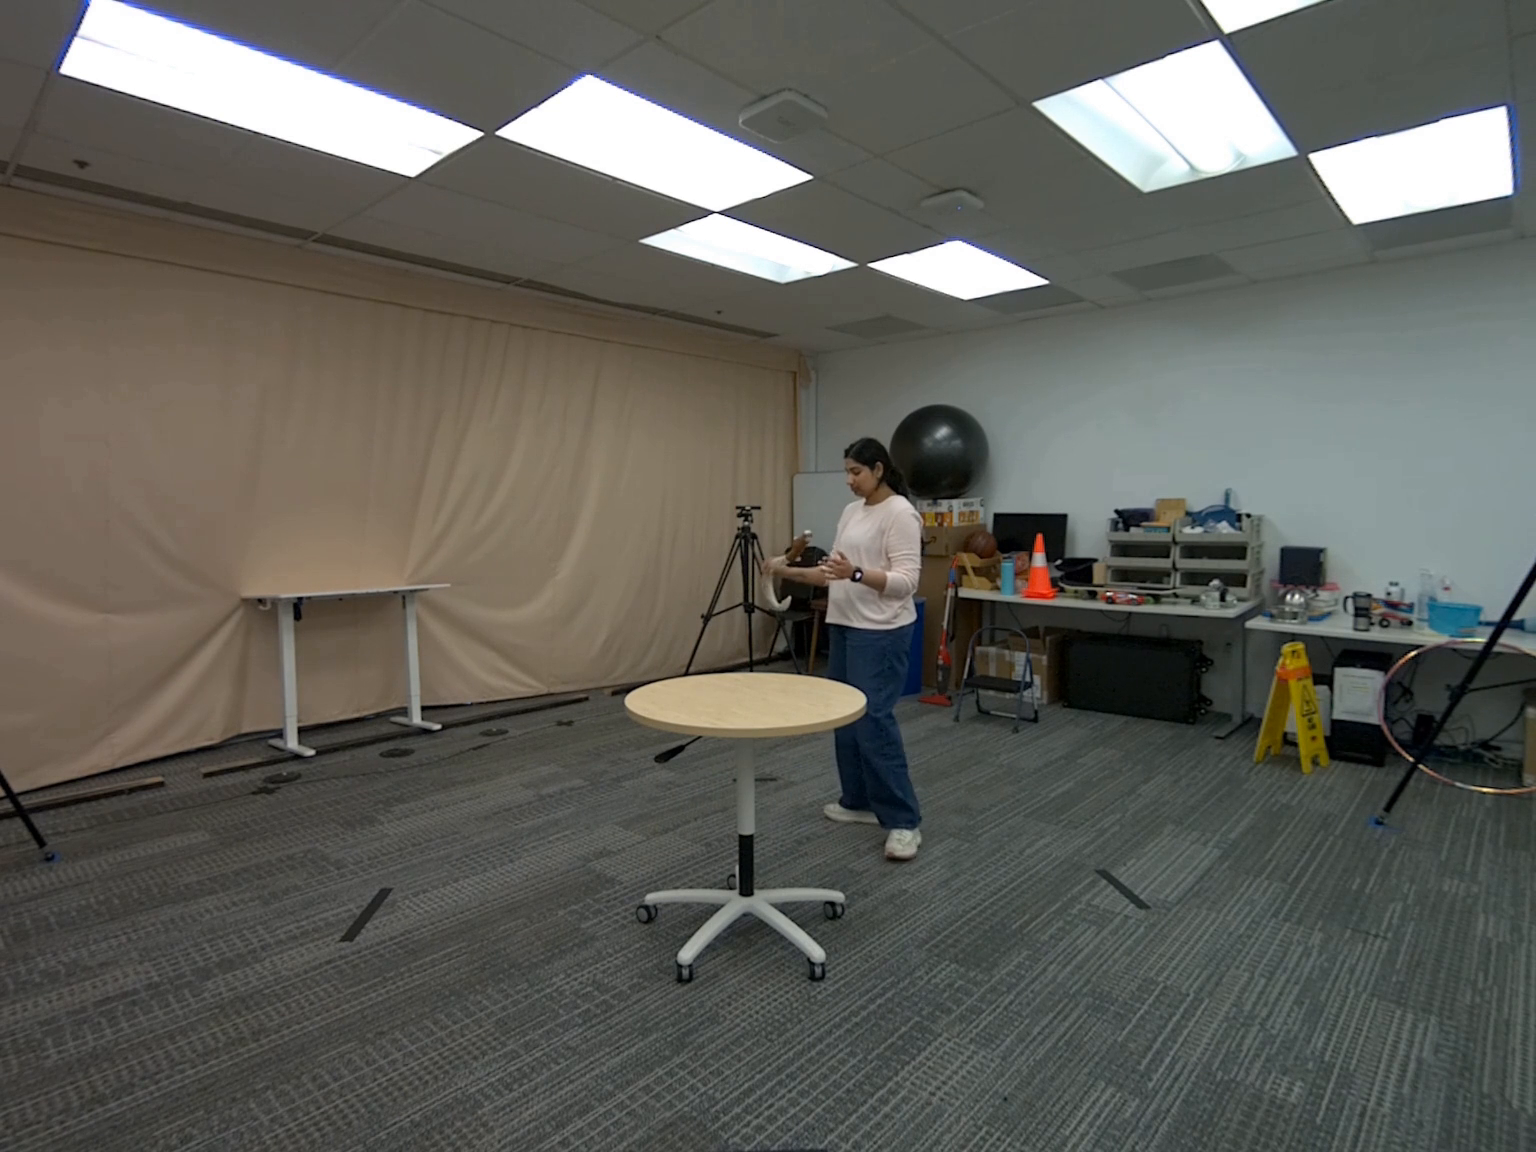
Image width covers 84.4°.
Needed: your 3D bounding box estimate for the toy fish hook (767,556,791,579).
[{"bbox_3d":[0.098,-0.012,3.498,0.047,0.229,0.507,-13,-21,-27],"label":"toy fish hook"}]
